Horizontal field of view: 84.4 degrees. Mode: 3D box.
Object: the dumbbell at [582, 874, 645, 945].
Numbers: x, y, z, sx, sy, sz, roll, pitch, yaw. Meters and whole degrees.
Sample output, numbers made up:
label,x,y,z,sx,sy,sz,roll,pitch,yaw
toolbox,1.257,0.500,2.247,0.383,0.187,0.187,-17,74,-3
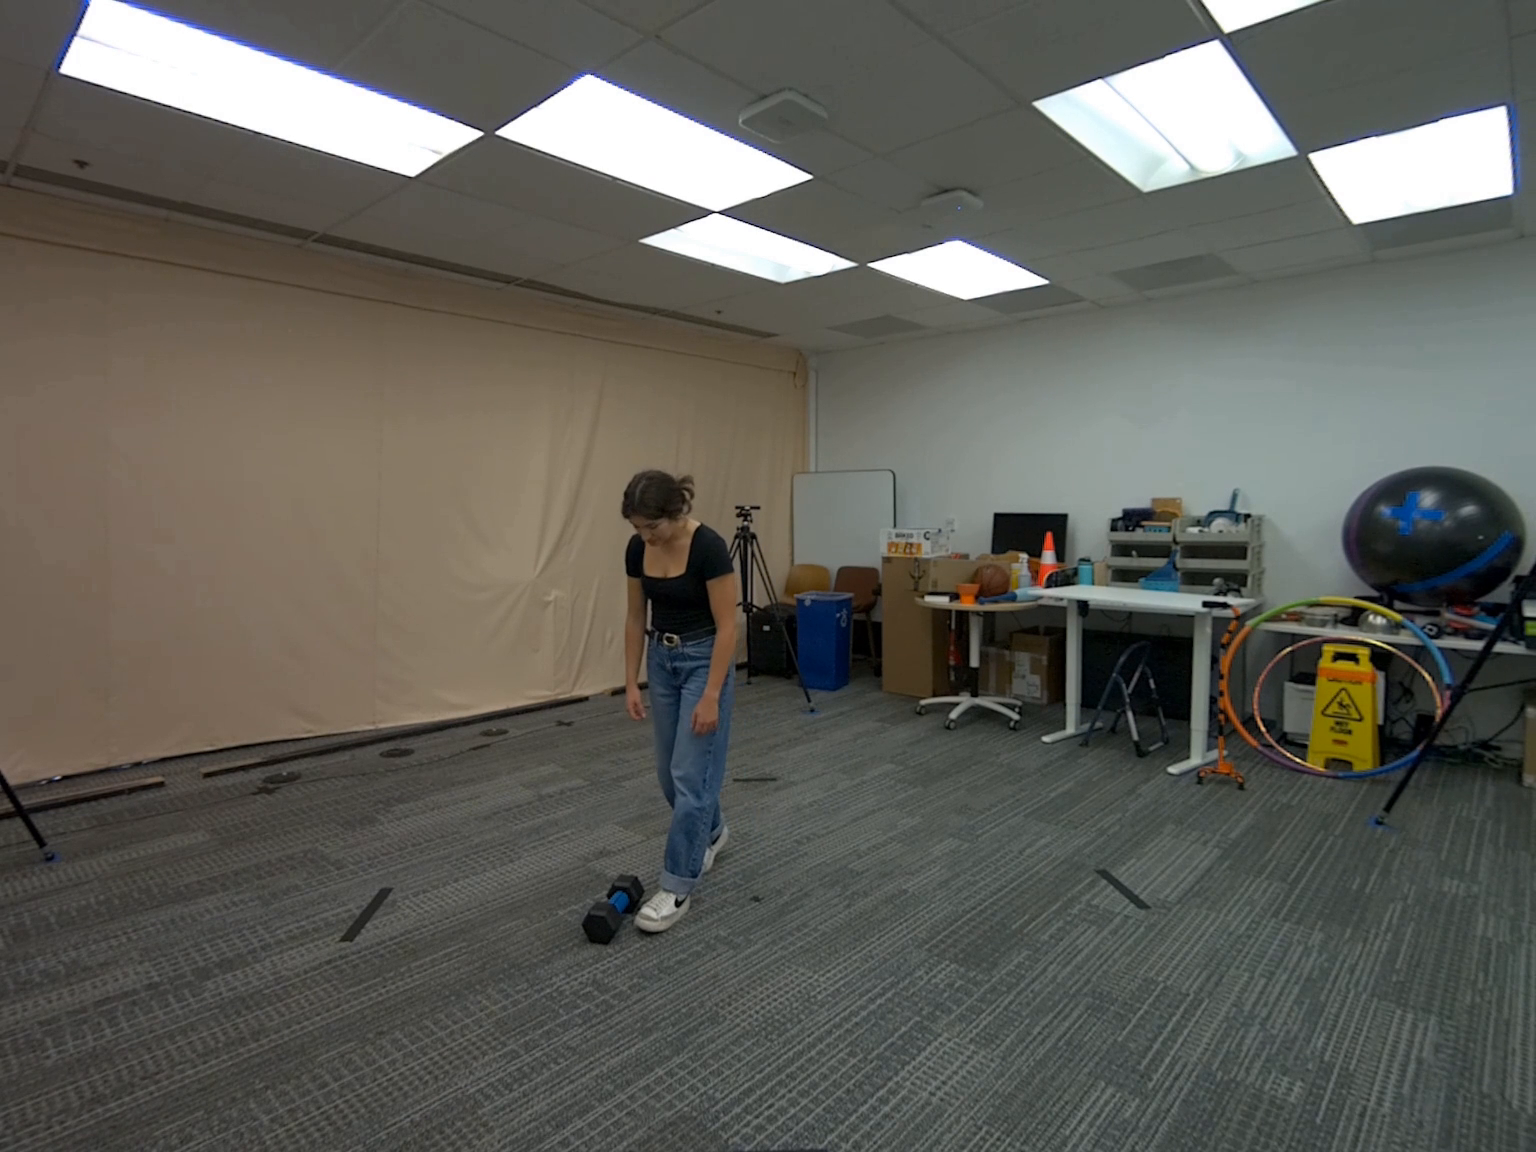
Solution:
label,x,y,z,sx,sy,sz,roll,pitch,yaw
dumbbell,-0.509,1.109,2.810,0.109,0.123,0.290,-30,-2,13
